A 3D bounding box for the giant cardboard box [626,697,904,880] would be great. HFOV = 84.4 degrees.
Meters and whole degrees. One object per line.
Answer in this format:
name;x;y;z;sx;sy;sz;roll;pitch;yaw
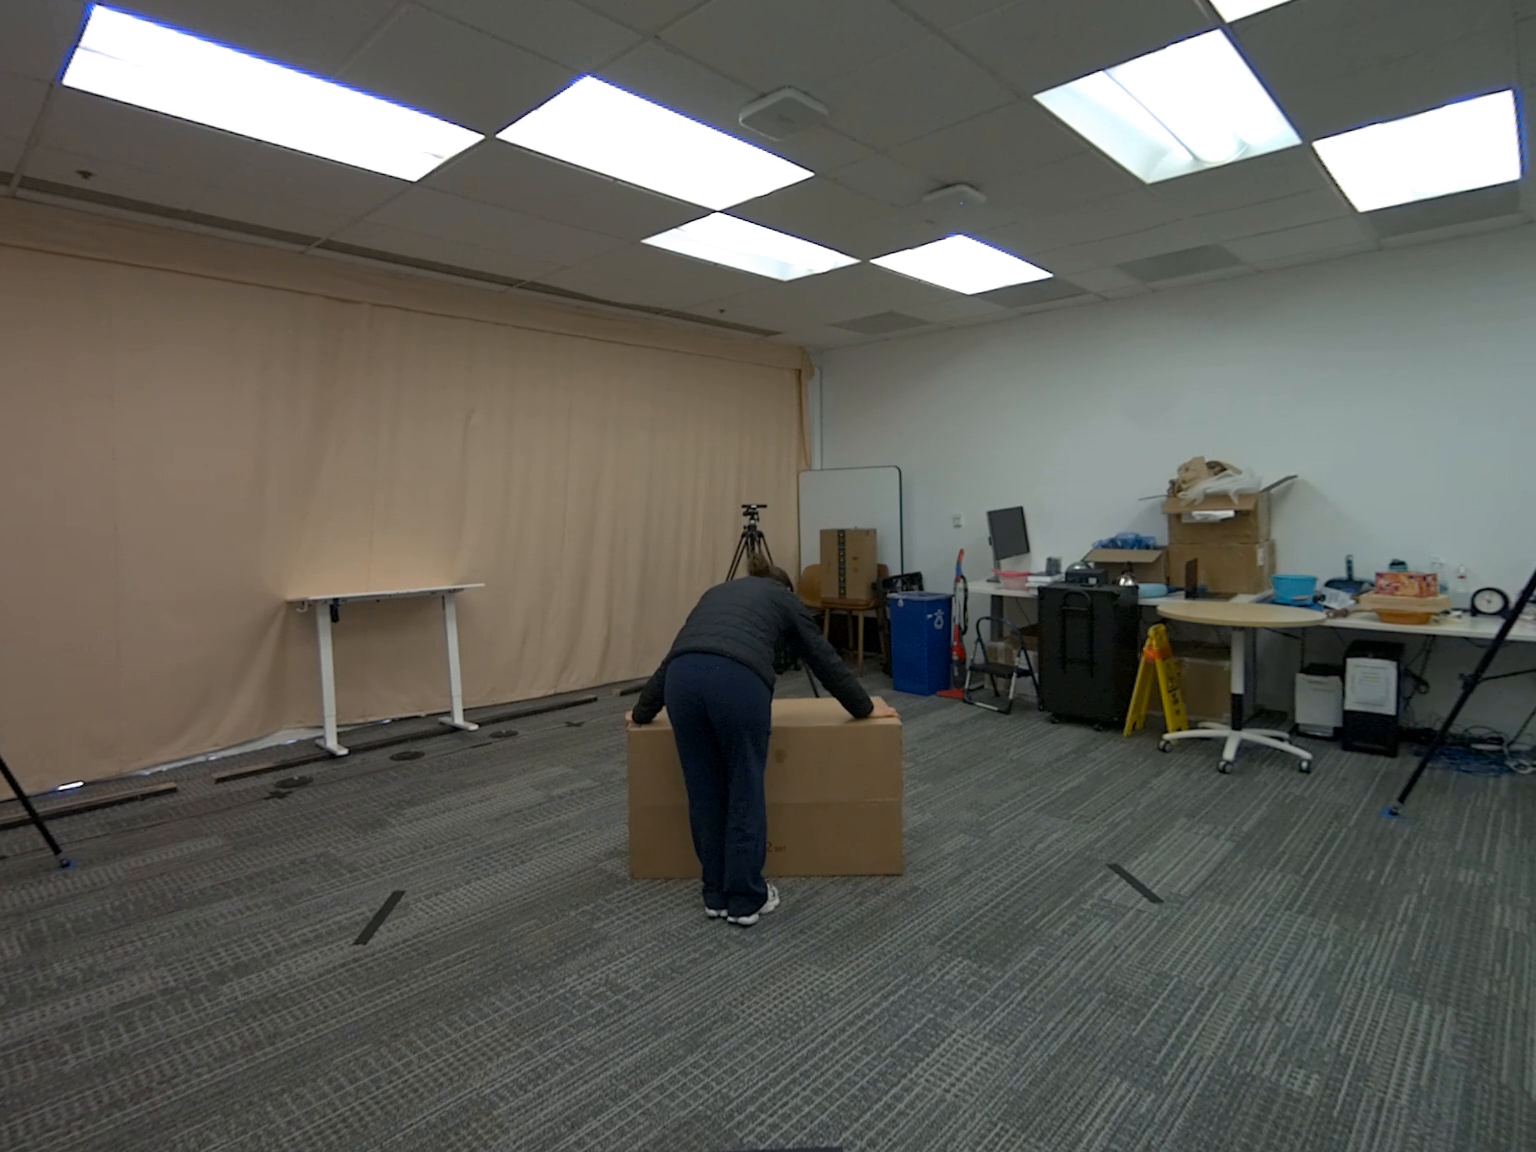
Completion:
giant cardboard box;-0.006;0.823;3.343;1.028;0.582;0.448;-1;6;1
